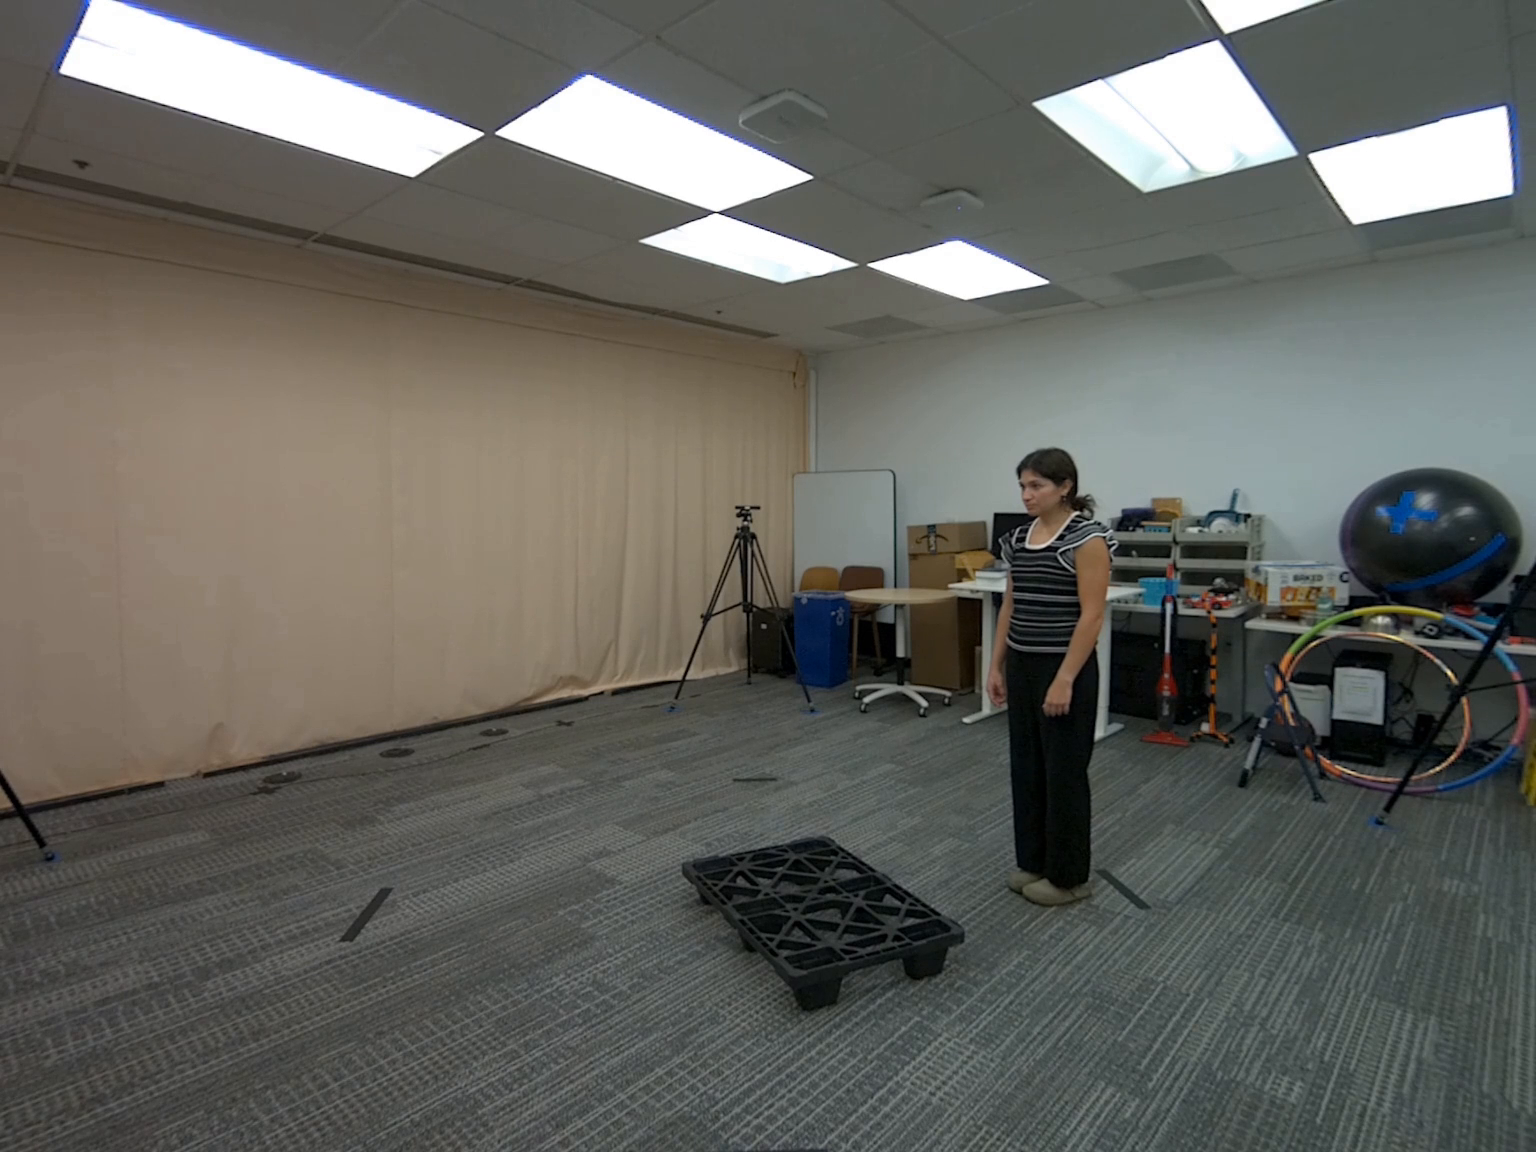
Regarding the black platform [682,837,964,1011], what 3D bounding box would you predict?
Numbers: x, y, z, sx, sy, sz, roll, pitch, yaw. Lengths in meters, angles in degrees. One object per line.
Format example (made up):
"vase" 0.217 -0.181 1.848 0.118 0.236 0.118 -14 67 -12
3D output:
"black platform" 0.144 1.095 2.734 0.591 0.143 0.827 -3 5 -26
